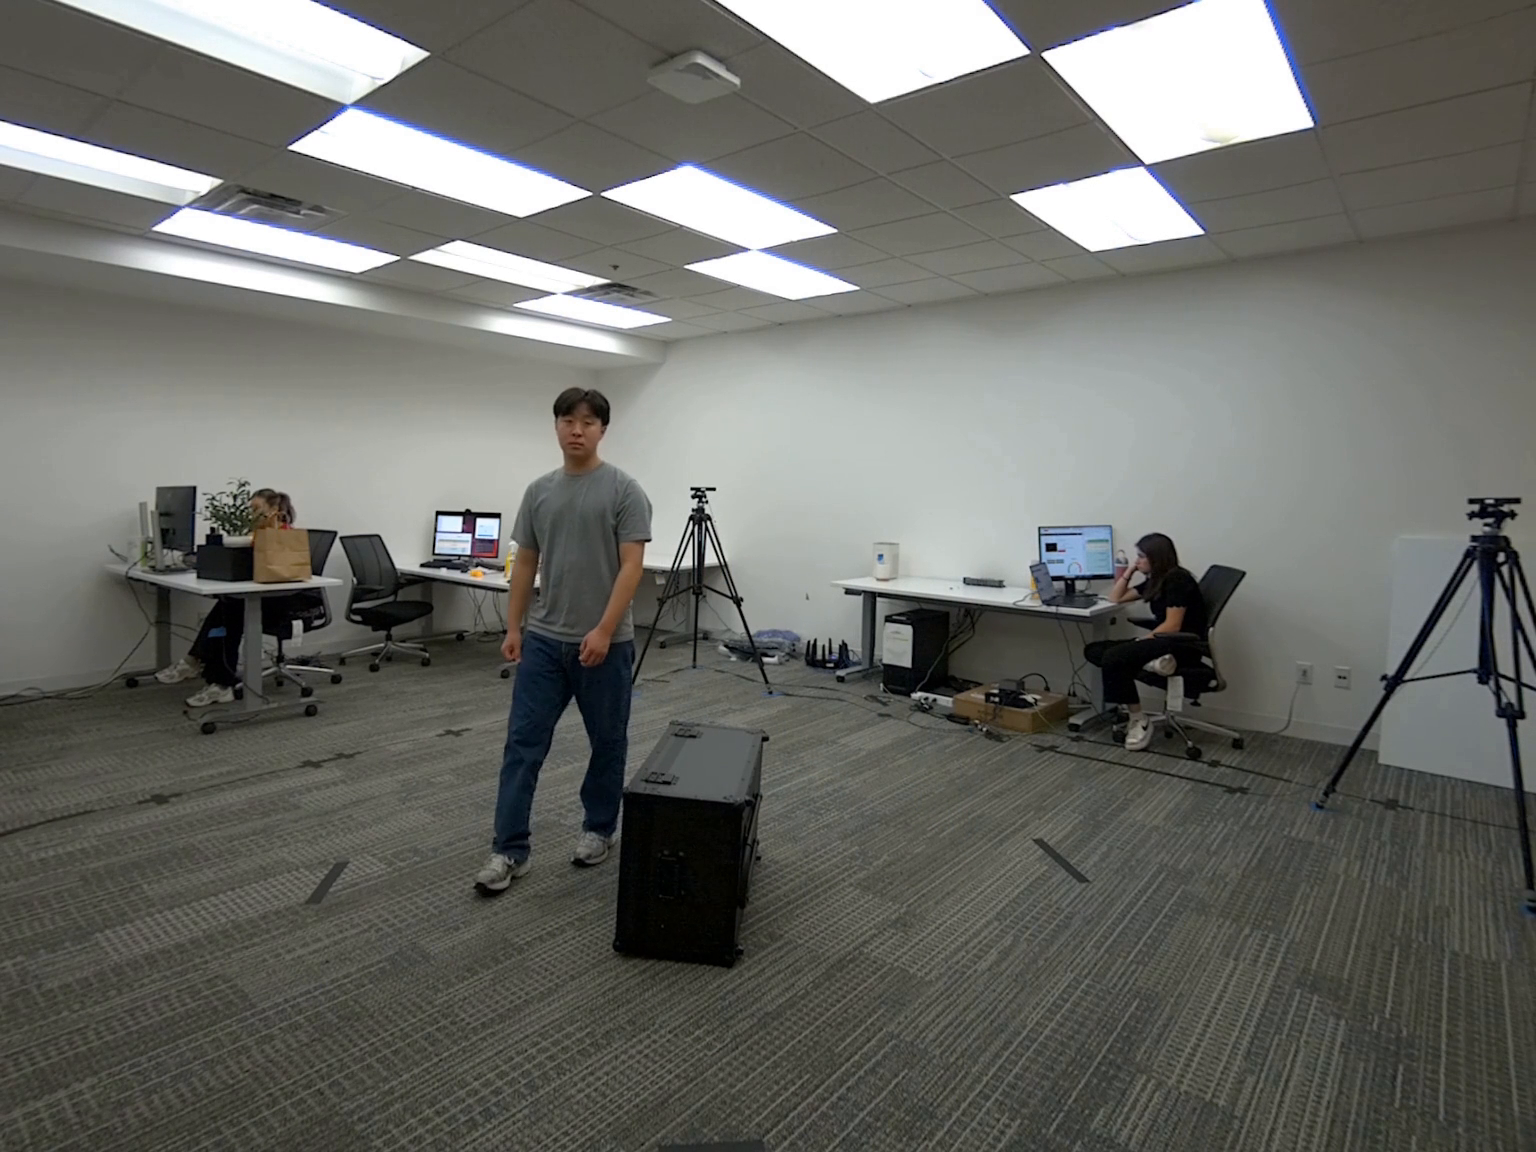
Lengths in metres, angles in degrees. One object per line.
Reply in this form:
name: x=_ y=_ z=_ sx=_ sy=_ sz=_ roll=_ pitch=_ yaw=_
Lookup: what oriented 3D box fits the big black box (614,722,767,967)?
big black box: x=-0.234 y=0.841 z=2.818 sx=0.399 sy=0.519 sz=0.858 roll=3 pitch=5 yaw=5
